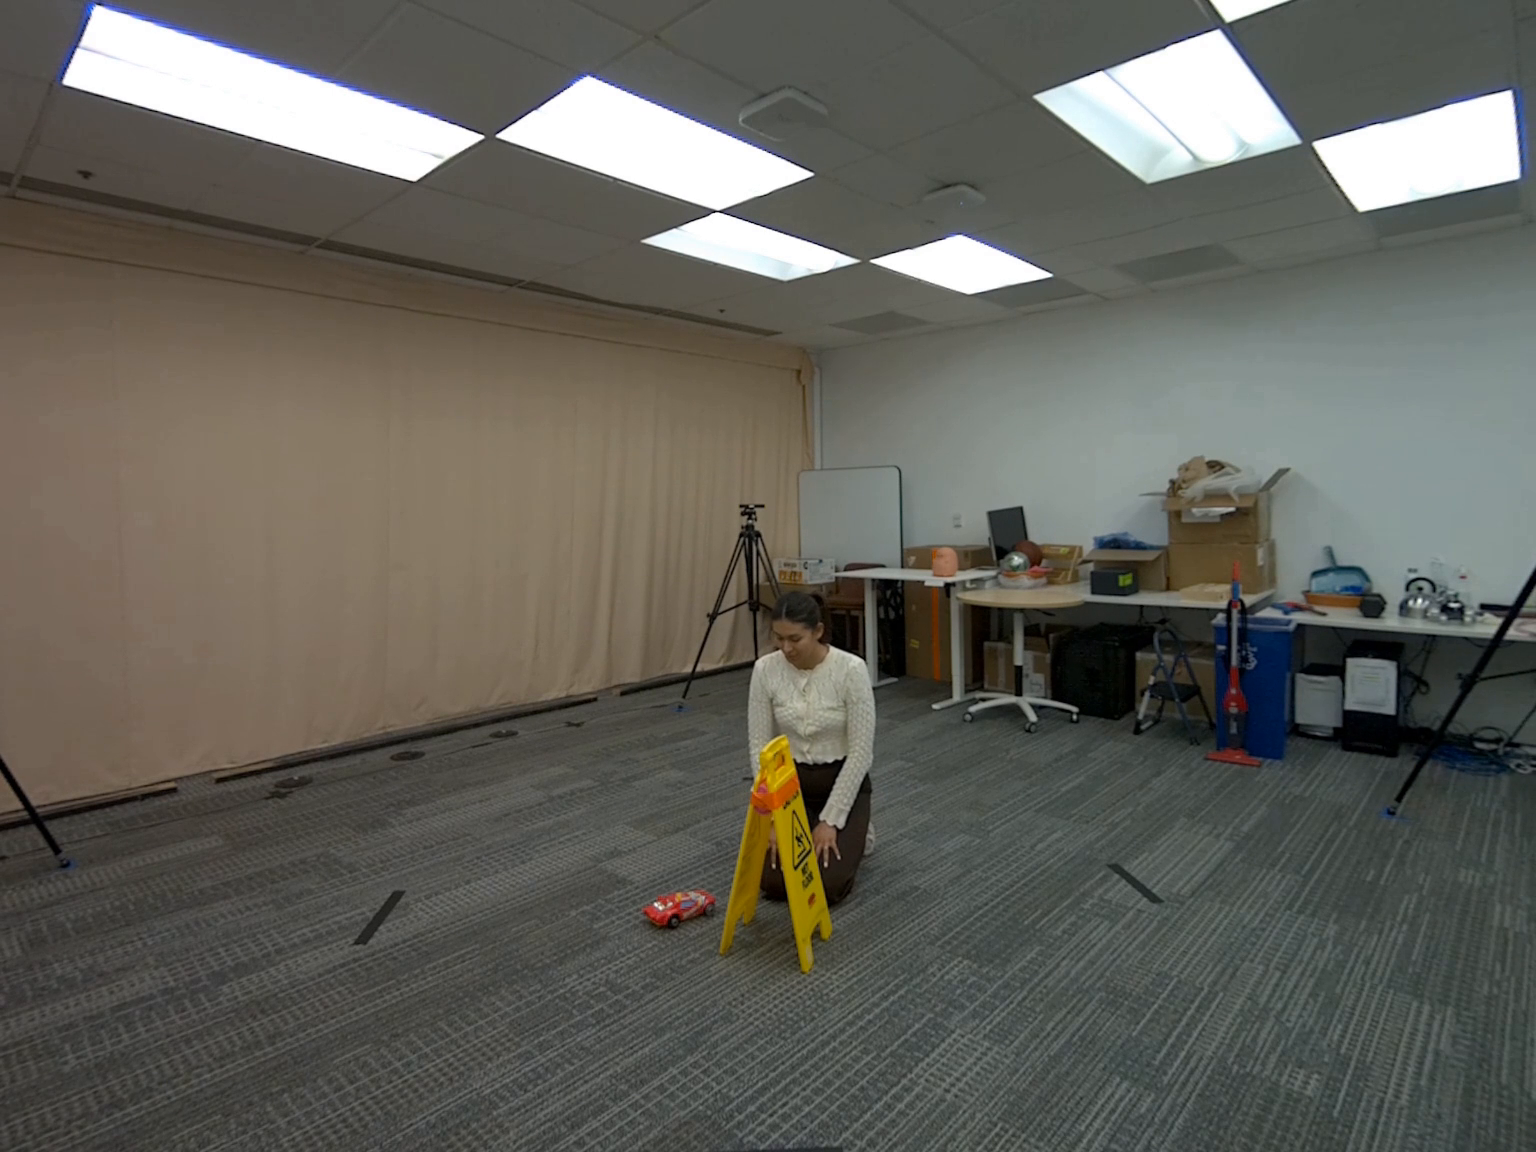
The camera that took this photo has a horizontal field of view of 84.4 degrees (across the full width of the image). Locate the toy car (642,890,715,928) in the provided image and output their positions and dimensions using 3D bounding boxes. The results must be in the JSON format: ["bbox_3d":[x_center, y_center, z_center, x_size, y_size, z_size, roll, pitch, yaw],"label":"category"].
[{"bbox_3d":[-0.318,1.131,2.844,0.246,0.083,0.134,9,-2,-35],"label":"toy car"}]
